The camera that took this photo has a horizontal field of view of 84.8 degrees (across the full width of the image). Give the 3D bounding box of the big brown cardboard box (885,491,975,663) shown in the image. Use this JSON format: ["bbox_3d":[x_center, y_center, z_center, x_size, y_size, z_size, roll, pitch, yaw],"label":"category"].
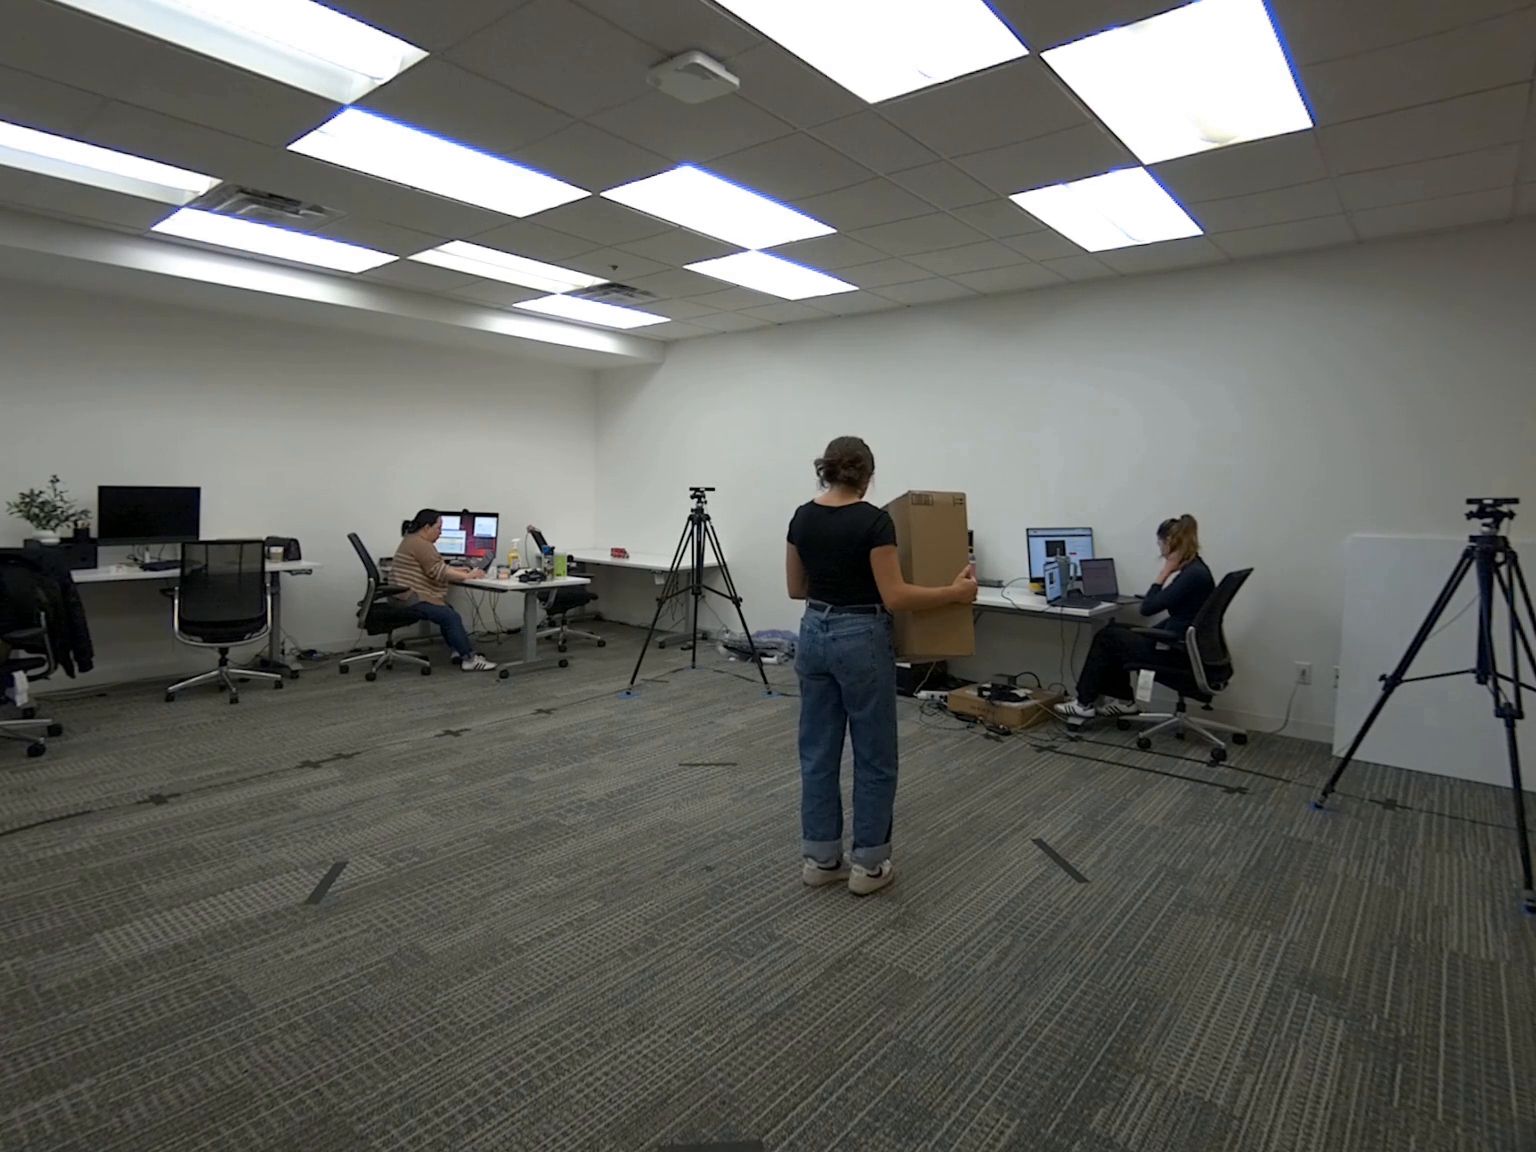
[{"bbox_3d":[0.540,0.008,3.093,0.230,0.594,0.419,3,-9,-12],"label":"big brown cardboard box"}]
